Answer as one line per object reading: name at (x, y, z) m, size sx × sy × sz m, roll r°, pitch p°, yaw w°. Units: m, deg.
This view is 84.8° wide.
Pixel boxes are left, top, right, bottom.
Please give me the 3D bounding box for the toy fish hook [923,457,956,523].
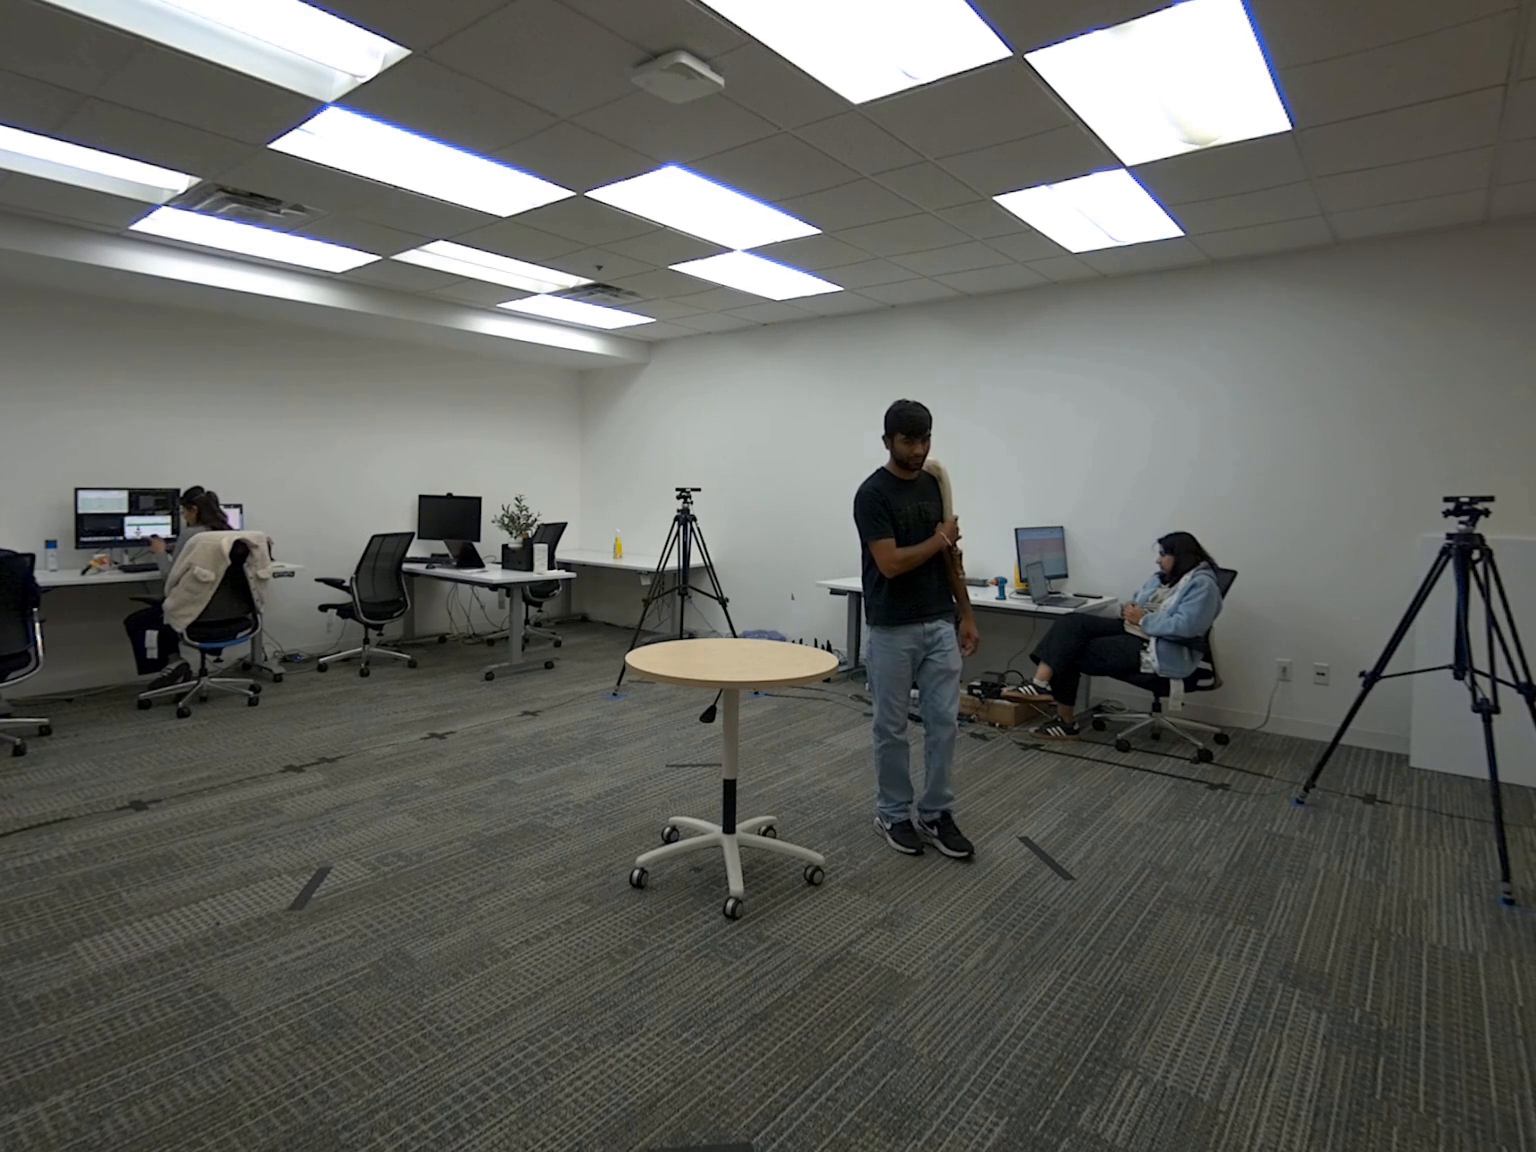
toy fish hook at (0.699, -0.230, 3.426) m, size 0.047 × 0.508 × 0.227 m, roll -10°, pitch -3°, yaw -18°
